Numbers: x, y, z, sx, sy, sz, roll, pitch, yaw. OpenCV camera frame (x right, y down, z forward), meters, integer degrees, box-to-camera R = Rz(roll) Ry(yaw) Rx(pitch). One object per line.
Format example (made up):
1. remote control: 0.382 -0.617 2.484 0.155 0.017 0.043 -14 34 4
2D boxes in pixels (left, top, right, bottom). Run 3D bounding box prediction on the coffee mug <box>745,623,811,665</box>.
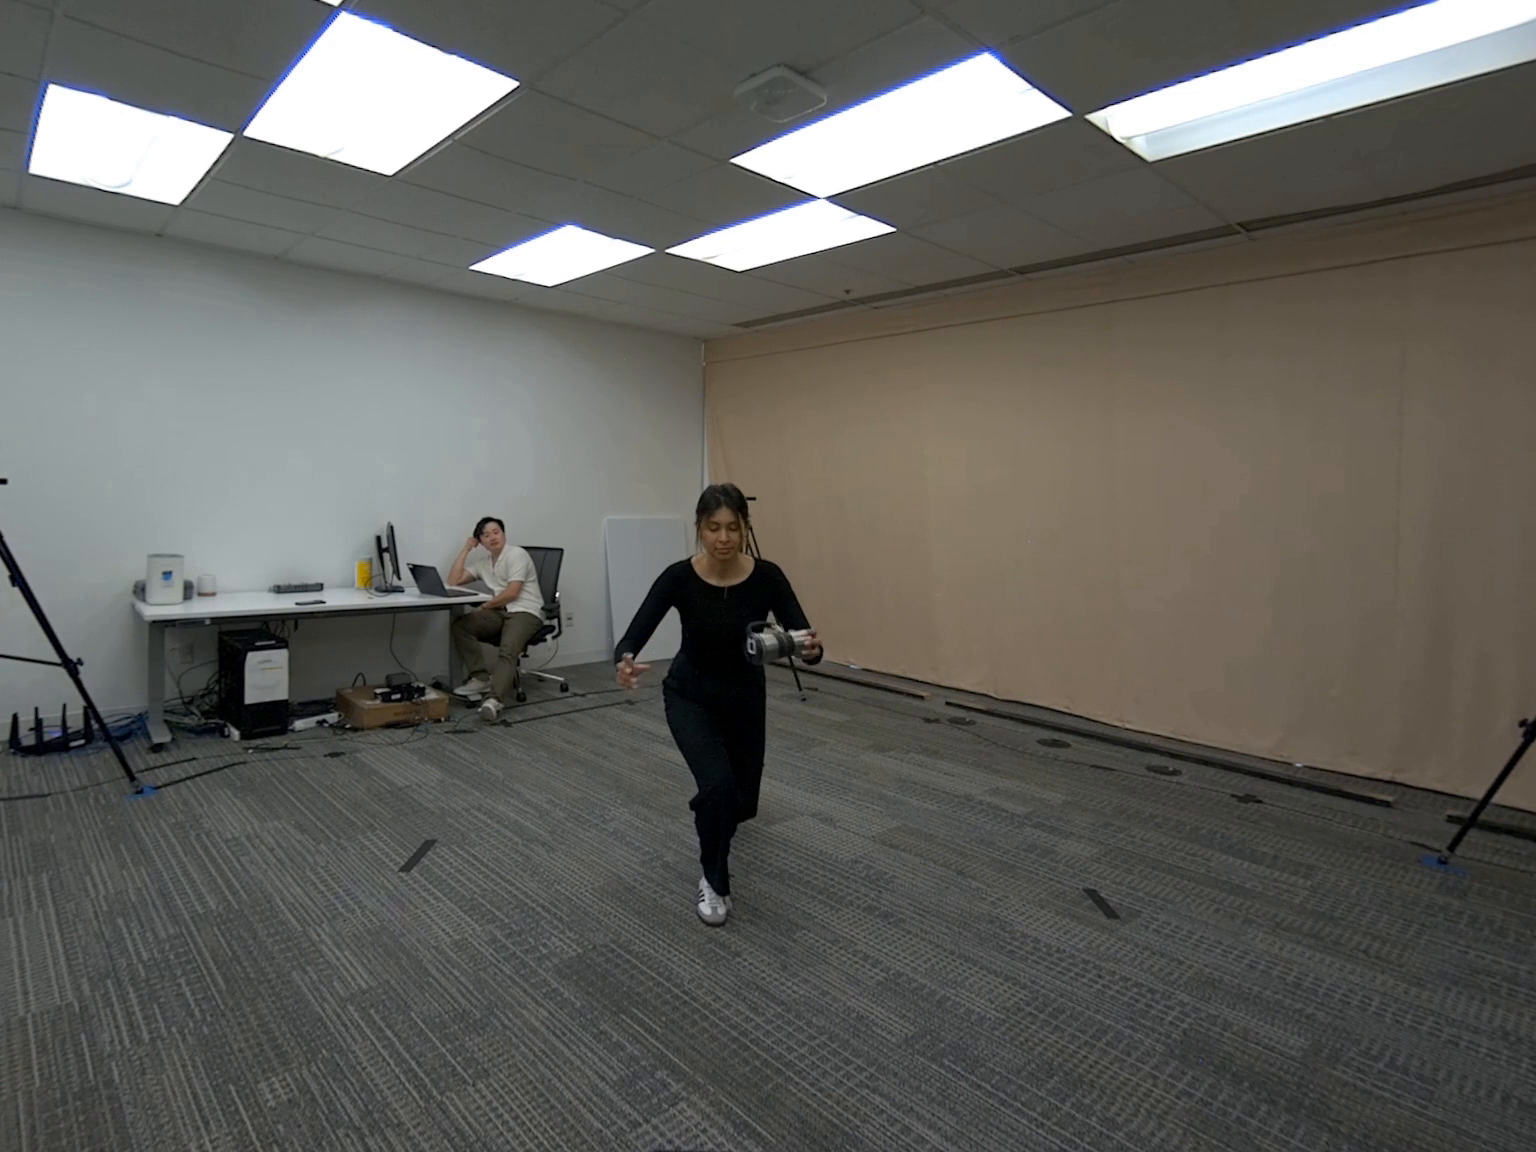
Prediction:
1. coffee mug: 0.028 0.196 2.428 0.199 0.125 0.087 -11 -36 -32
